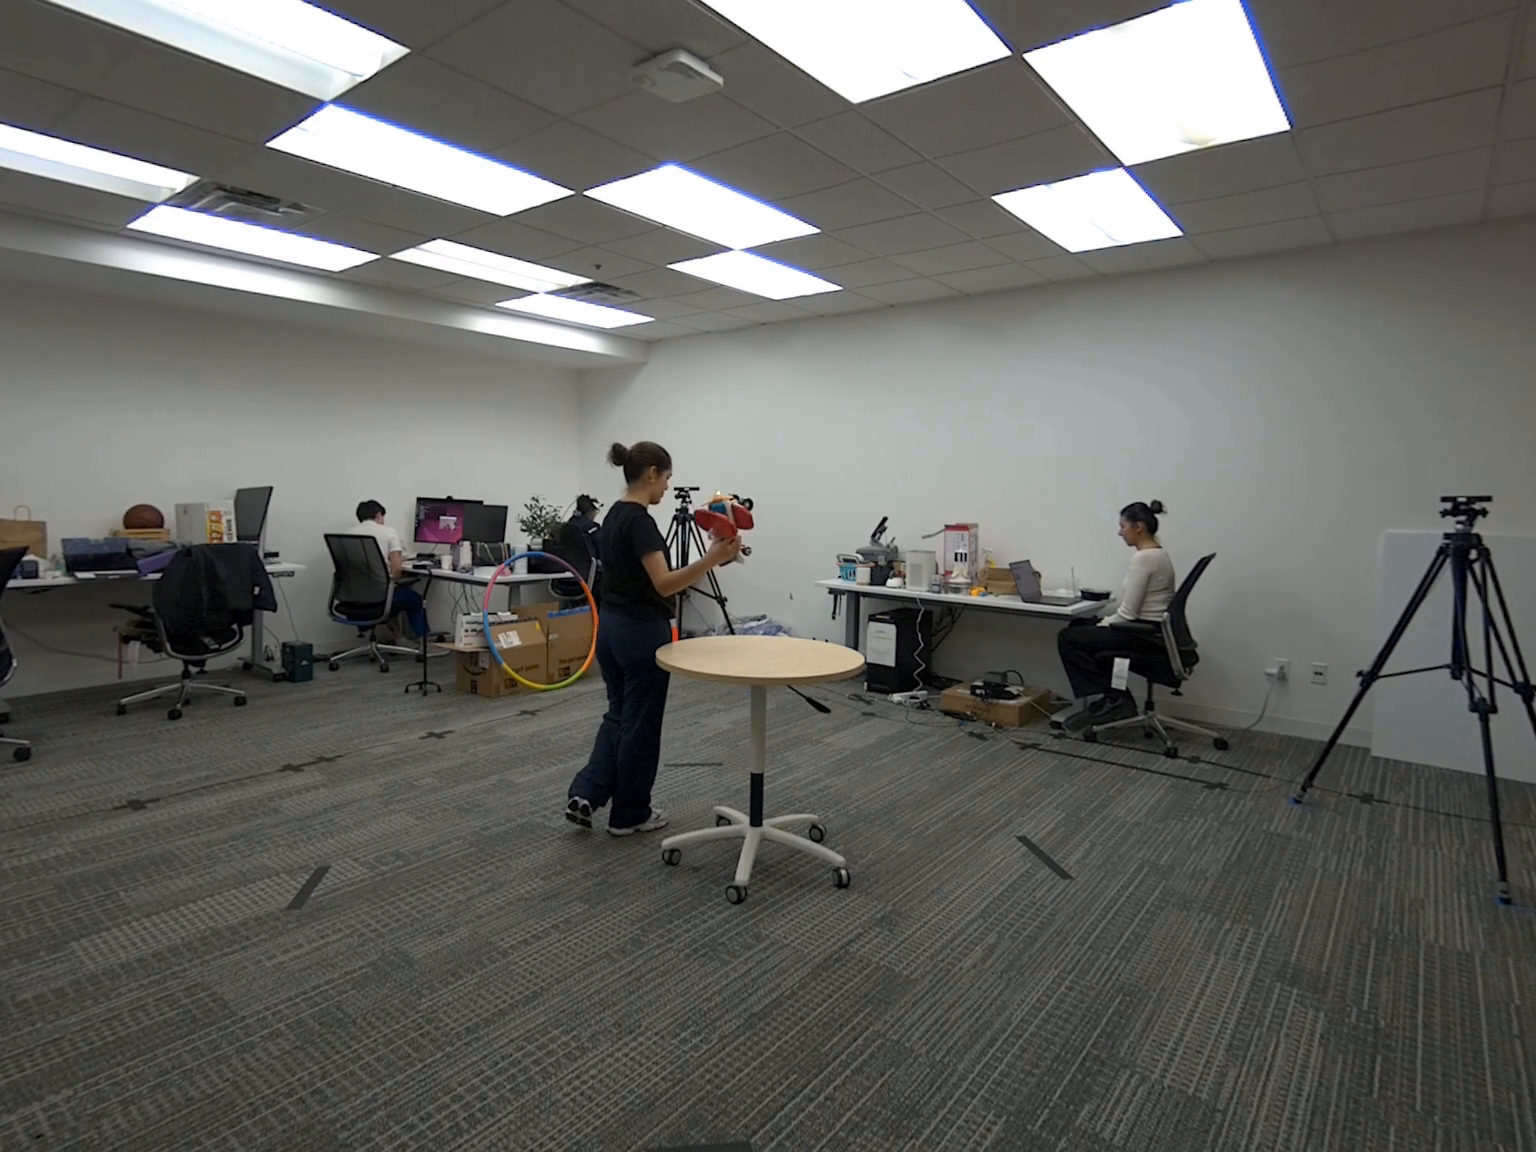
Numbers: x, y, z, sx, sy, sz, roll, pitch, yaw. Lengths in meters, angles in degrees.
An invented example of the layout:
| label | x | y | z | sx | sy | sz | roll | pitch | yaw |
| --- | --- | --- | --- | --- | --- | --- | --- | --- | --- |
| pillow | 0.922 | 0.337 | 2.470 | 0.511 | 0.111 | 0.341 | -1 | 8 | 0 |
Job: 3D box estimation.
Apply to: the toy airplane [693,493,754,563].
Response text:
| label | x | y | z | sx | sy | sz | roll | pitch | yaw |
| --- | --- | --- | --- | --- | --- | --- | --- | --- | --- |
| toy airplane | -0.106 | -0.166 | 3.050 | 0.153 | 0.262 | 0.254 | -11 | -10 | -31 |
